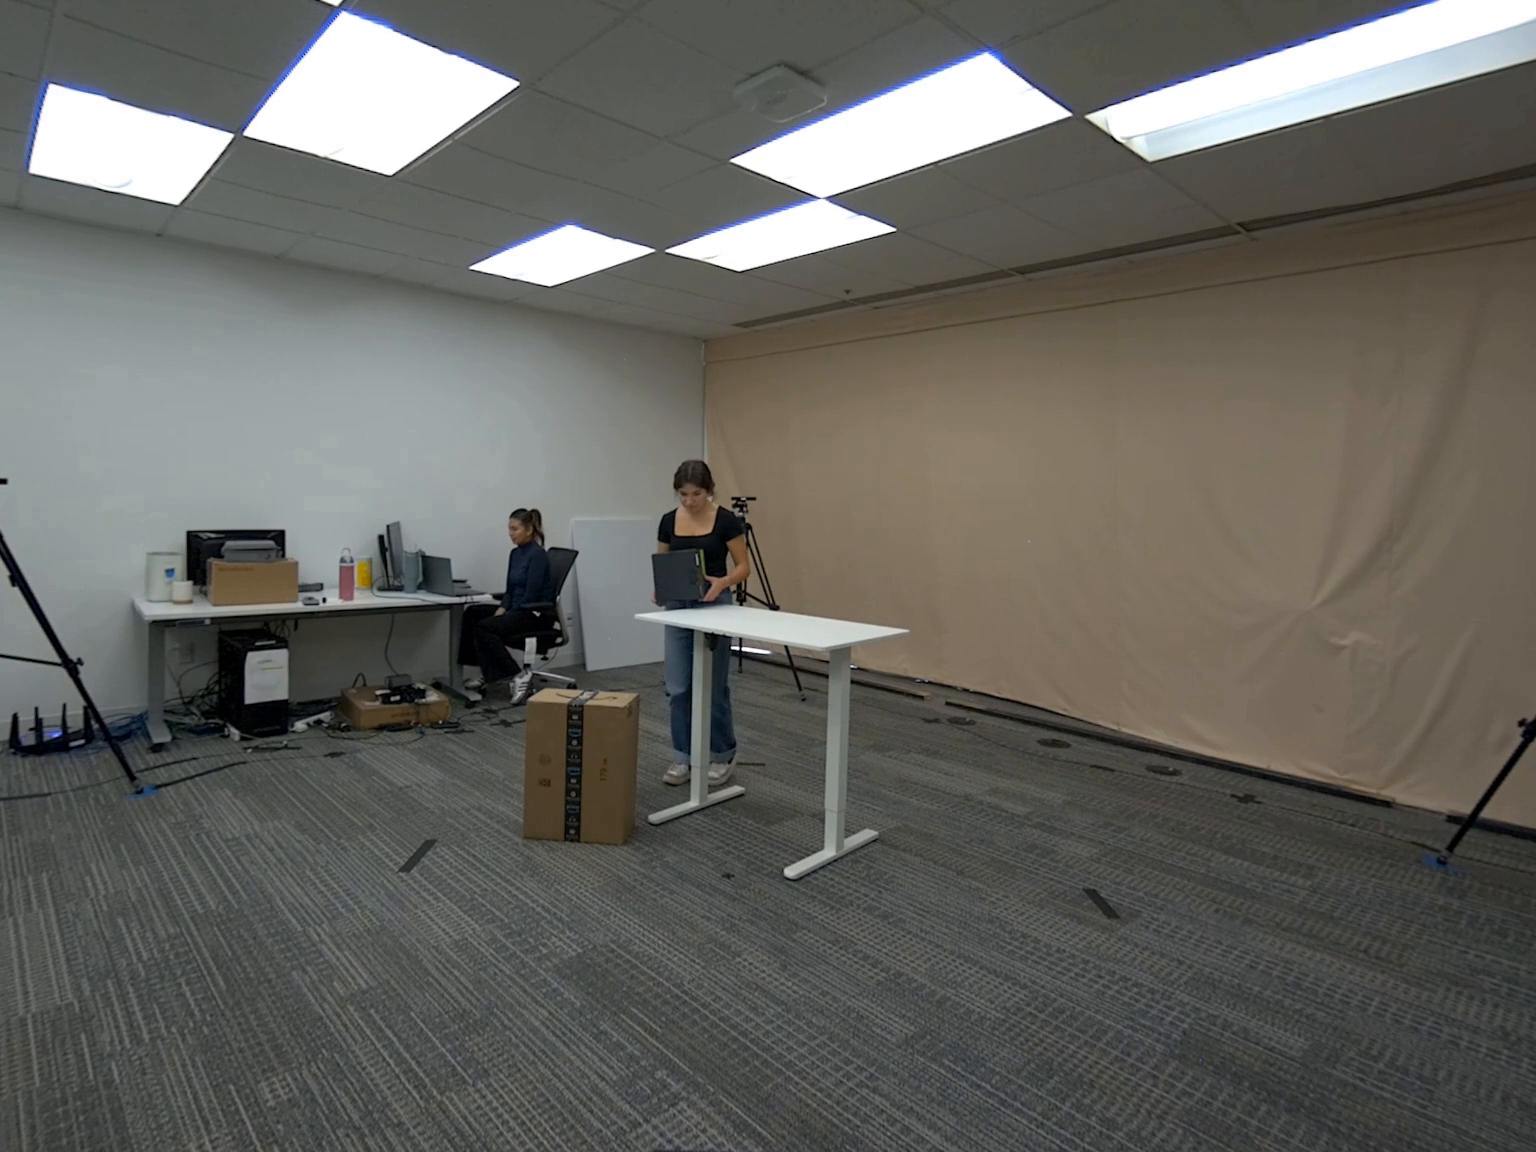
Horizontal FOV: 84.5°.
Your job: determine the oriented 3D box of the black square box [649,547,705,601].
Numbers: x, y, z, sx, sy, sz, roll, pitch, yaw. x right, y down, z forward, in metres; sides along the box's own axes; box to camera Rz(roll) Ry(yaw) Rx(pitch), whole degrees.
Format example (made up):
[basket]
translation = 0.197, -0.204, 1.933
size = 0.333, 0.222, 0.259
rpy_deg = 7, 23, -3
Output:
[black square box]
translation = -0.419, -0.013, 3.913
size = 0.220, 0.227, 0.154
rpy_deg = 2, 2, 15
